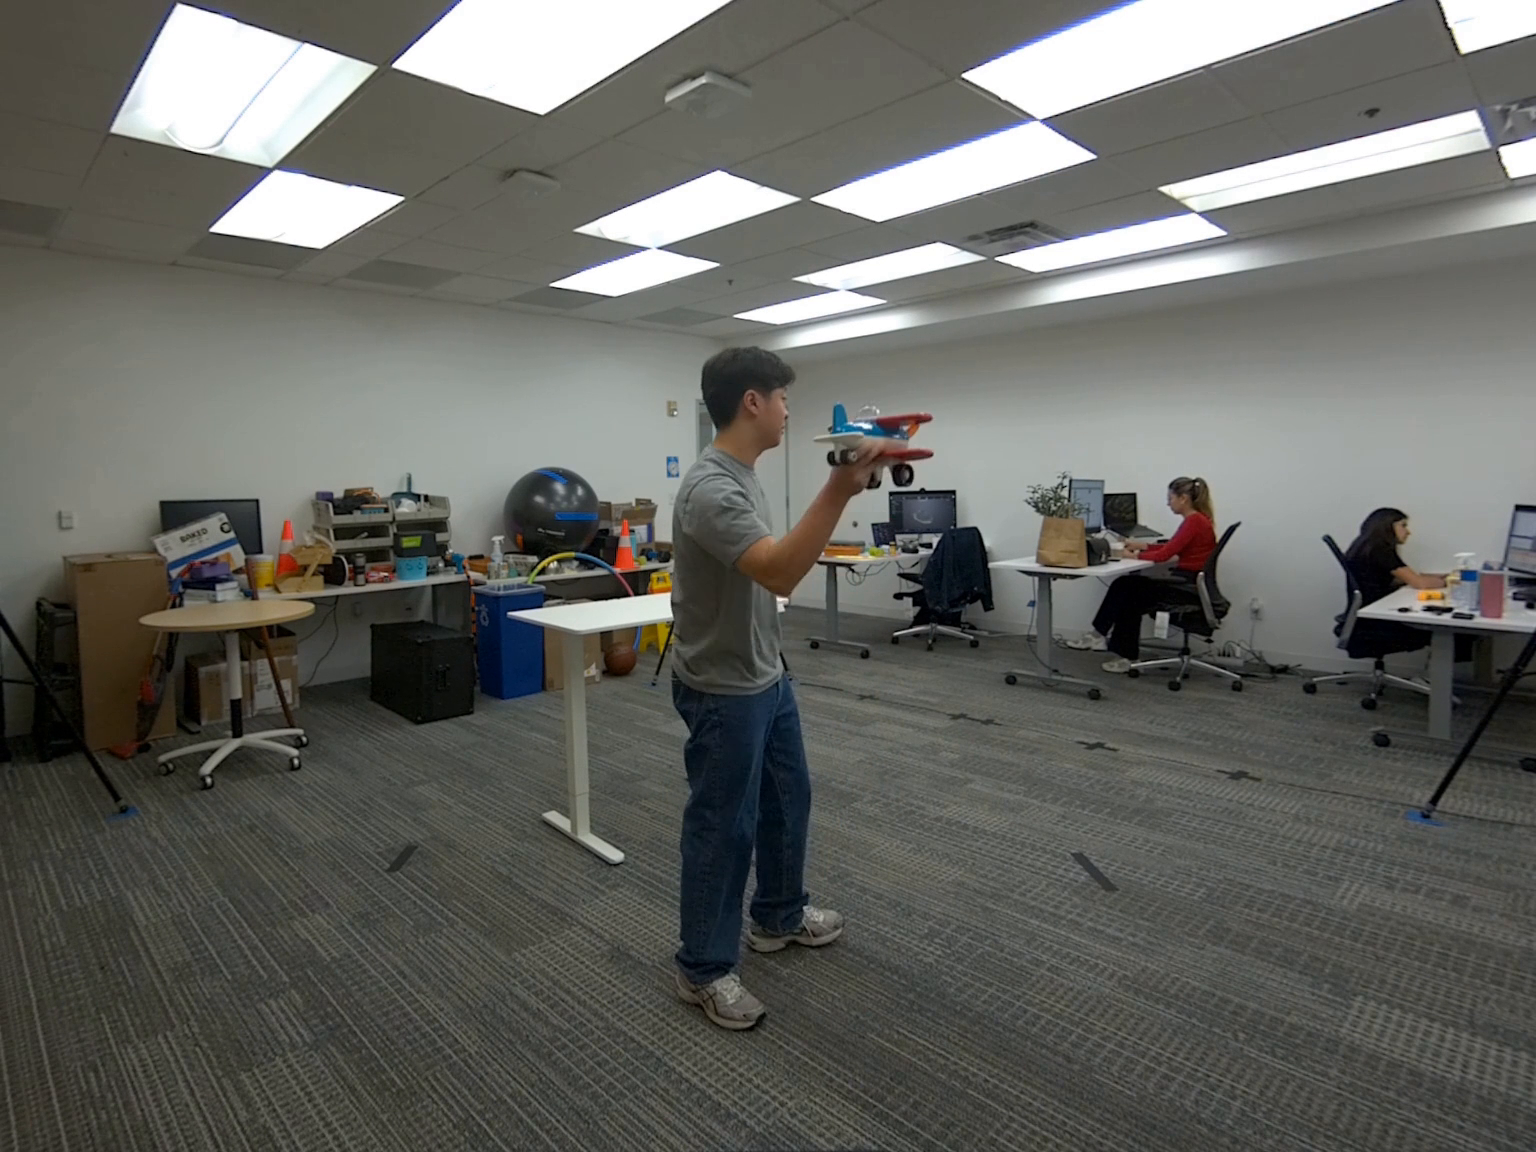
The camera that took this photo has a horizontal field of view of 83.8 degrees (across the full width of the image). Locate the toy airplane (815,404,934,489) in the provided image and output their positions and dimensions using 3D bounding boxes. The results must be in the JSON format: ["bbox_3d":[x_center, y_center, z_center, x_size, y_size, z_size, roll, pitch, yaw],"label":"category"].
[{"bbox_3d":[0.249,-0.284,1.884,0.255,0.158,0.253,5,-10,16],"label":"toy airplane"}]
